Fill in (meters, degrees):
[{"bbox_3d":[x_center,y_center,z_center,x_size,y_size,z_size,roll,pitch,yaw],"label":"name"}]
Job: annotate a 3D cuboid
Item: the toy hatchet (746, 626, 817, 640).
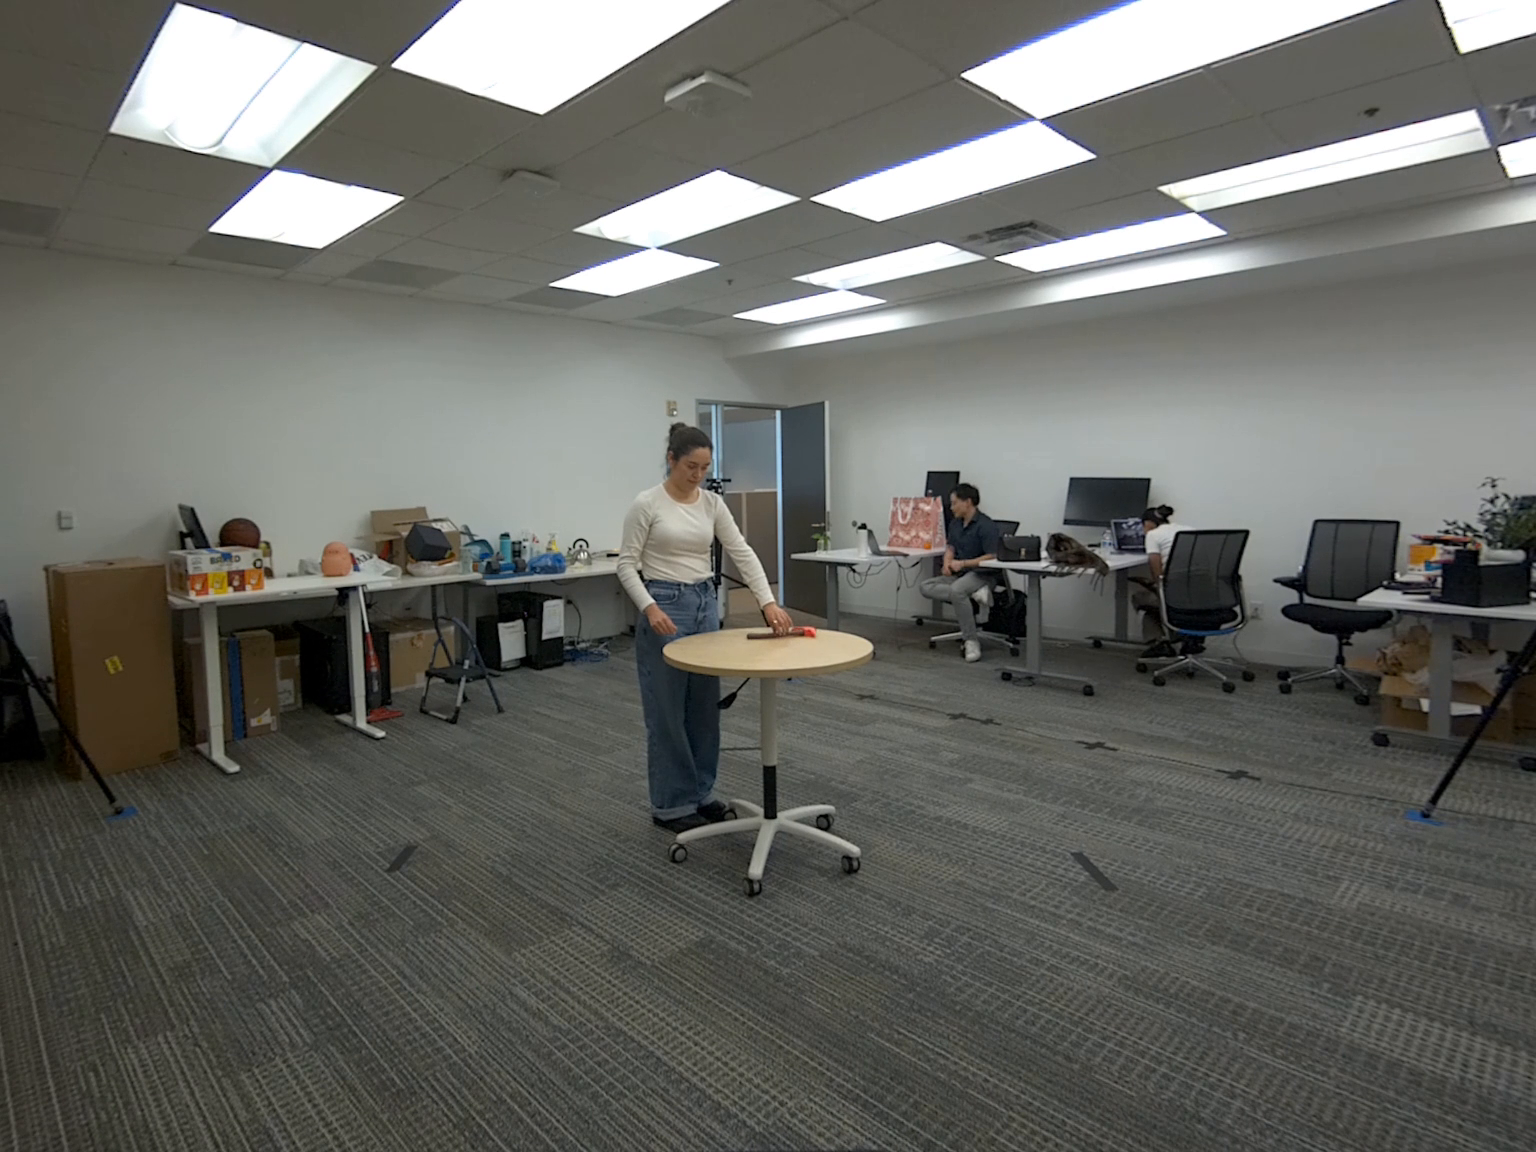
[{"bbox_3d":[0.045,0.218,3.326,0.271,0.029,0.132,0,16,5],"label":"toy hatchet"}]
